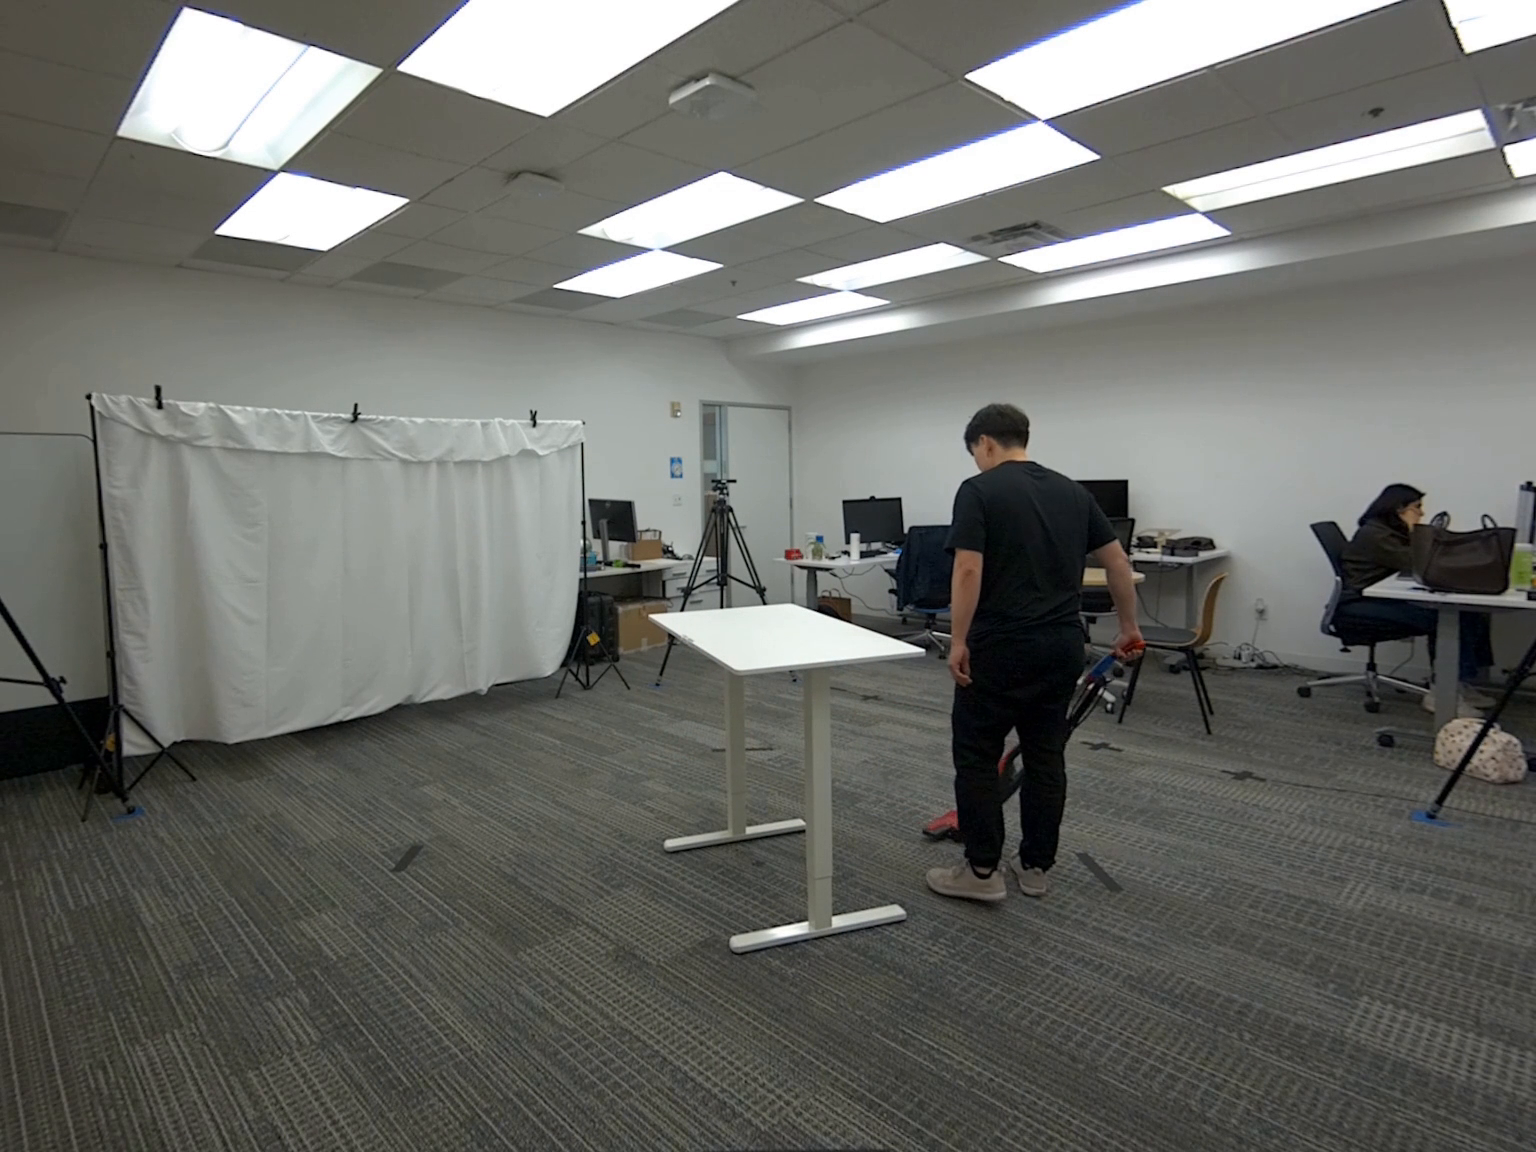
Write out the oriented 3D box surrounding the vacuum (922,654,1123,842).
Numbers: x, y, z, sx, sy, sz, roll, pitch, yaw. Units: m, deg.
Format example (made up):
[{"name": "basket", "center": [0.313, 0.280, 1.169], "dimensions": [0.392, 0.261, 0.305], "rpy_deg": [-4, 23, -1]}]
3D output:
[{"name": "vacuum", "center": [0.977, 0.636, 3.111], "dimensions": [0.246, 0.148, 1.046], "rpy_deg": [-8, -37, -53]}]
